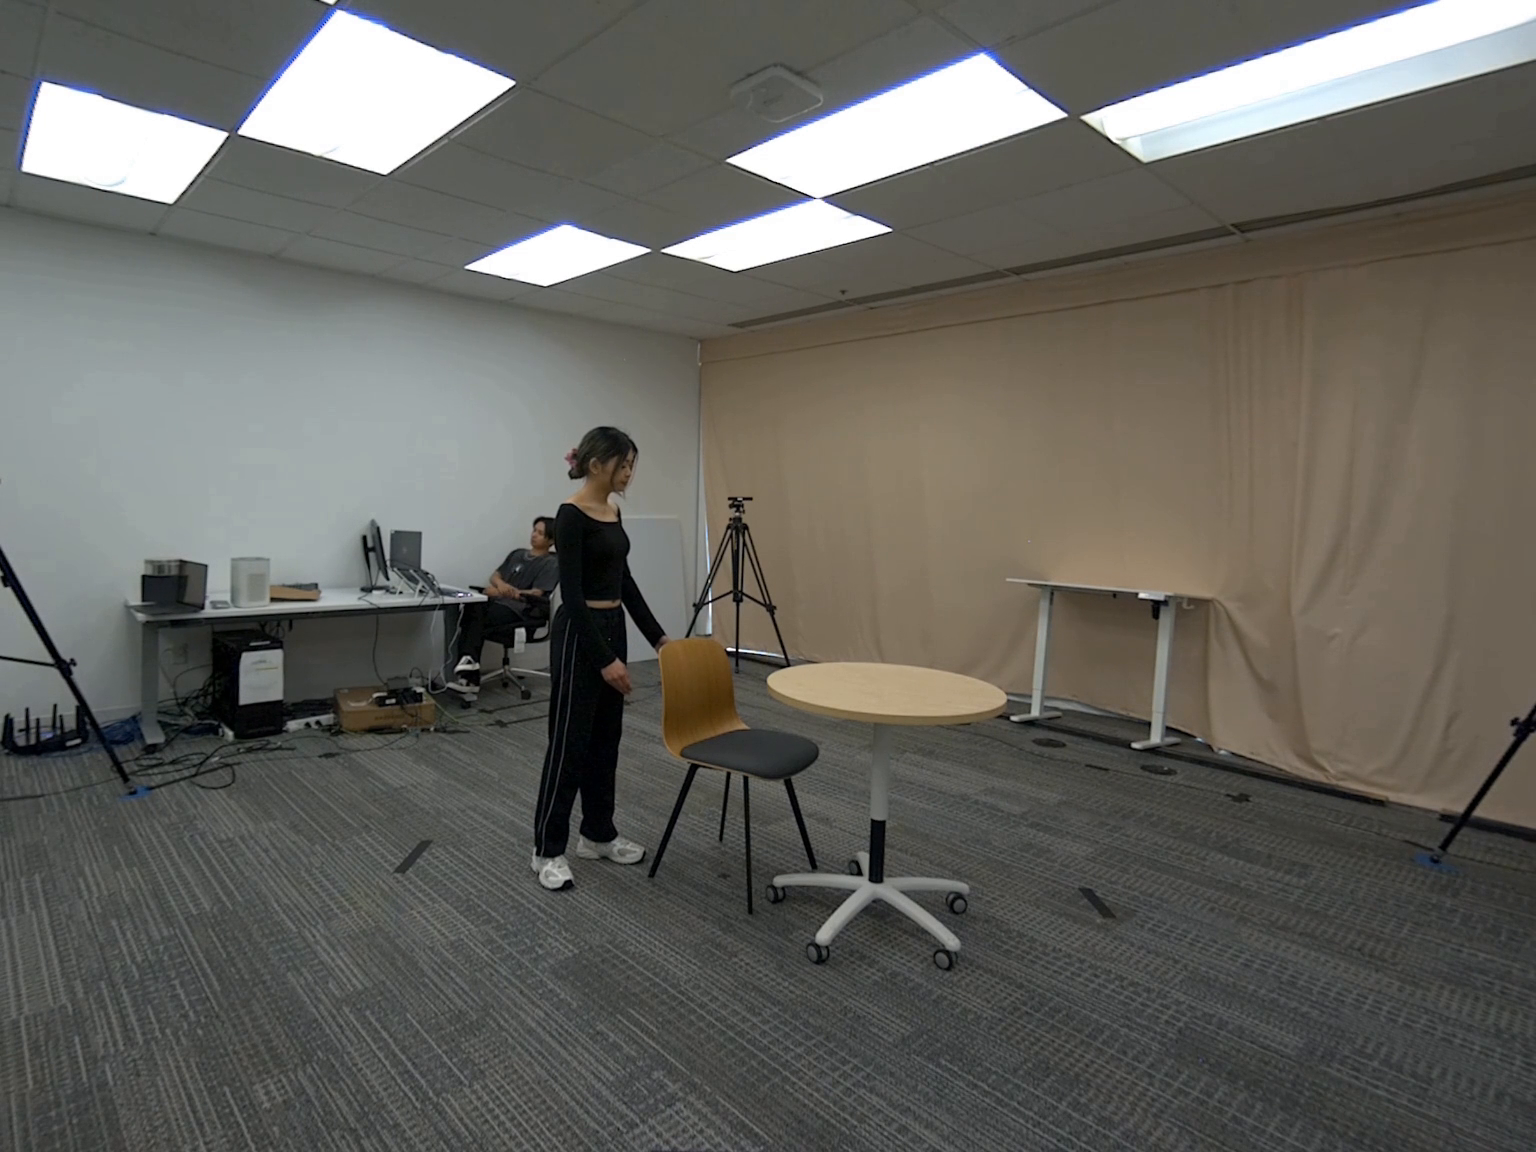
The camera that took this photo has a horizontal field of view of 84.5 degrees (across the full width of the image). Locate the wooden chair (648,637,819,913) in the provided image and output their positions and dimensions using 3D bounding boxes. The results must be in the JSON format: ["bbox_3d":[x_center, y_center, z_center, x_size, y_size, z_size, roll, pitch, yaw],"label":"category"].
[{"bbox_3d":[-0.115,0.678,3.097,0.534,0.877,0.468,-2,1,35],"label":"wooden chair"}]
